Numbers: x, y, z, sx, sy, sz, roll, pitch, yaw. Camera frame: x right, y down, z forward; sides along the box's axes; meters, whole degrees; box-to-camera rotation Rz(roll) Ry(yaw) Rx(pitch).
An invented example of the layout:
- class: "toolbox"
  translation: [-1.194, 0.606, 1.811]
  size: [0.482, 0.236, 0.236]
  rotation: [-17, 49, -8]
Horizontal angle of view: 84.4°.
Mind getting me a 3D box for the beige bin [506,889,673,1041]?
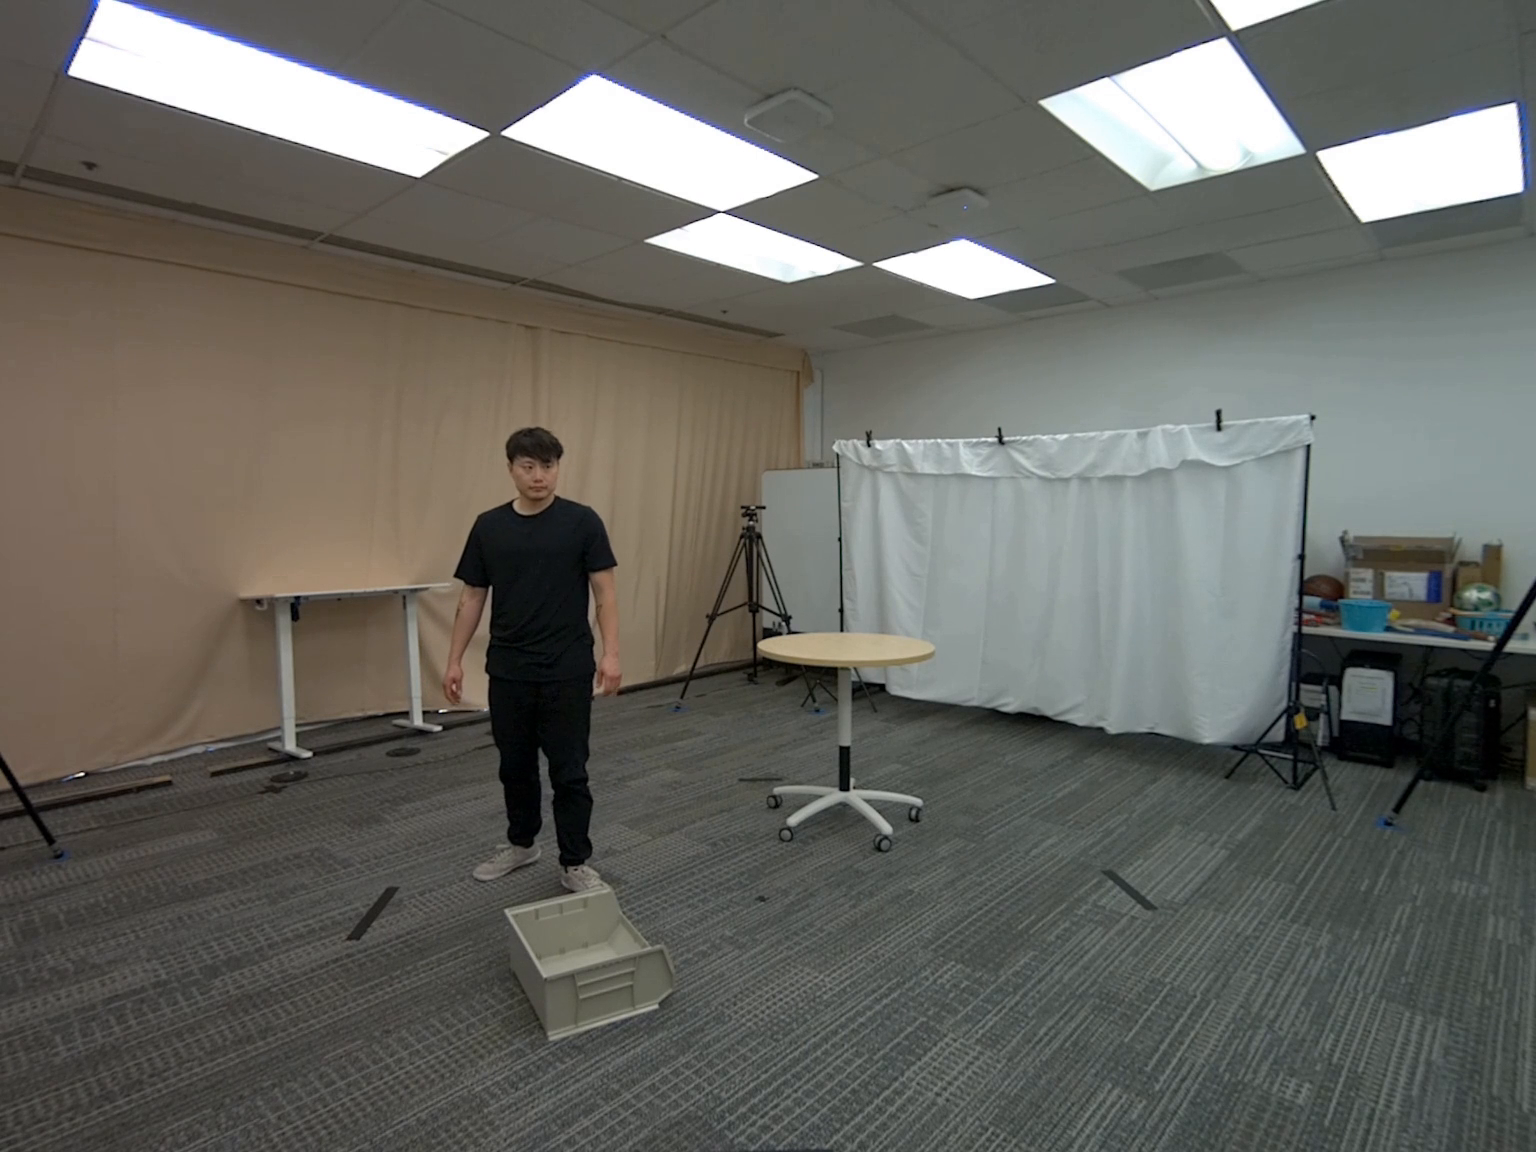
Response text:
- class: "beige bin"
  translation: [-0.526, 1.106, 2.439]
  size: [0.367, 0.188, 0.435]
  rotation: [-4, 6, -30]
